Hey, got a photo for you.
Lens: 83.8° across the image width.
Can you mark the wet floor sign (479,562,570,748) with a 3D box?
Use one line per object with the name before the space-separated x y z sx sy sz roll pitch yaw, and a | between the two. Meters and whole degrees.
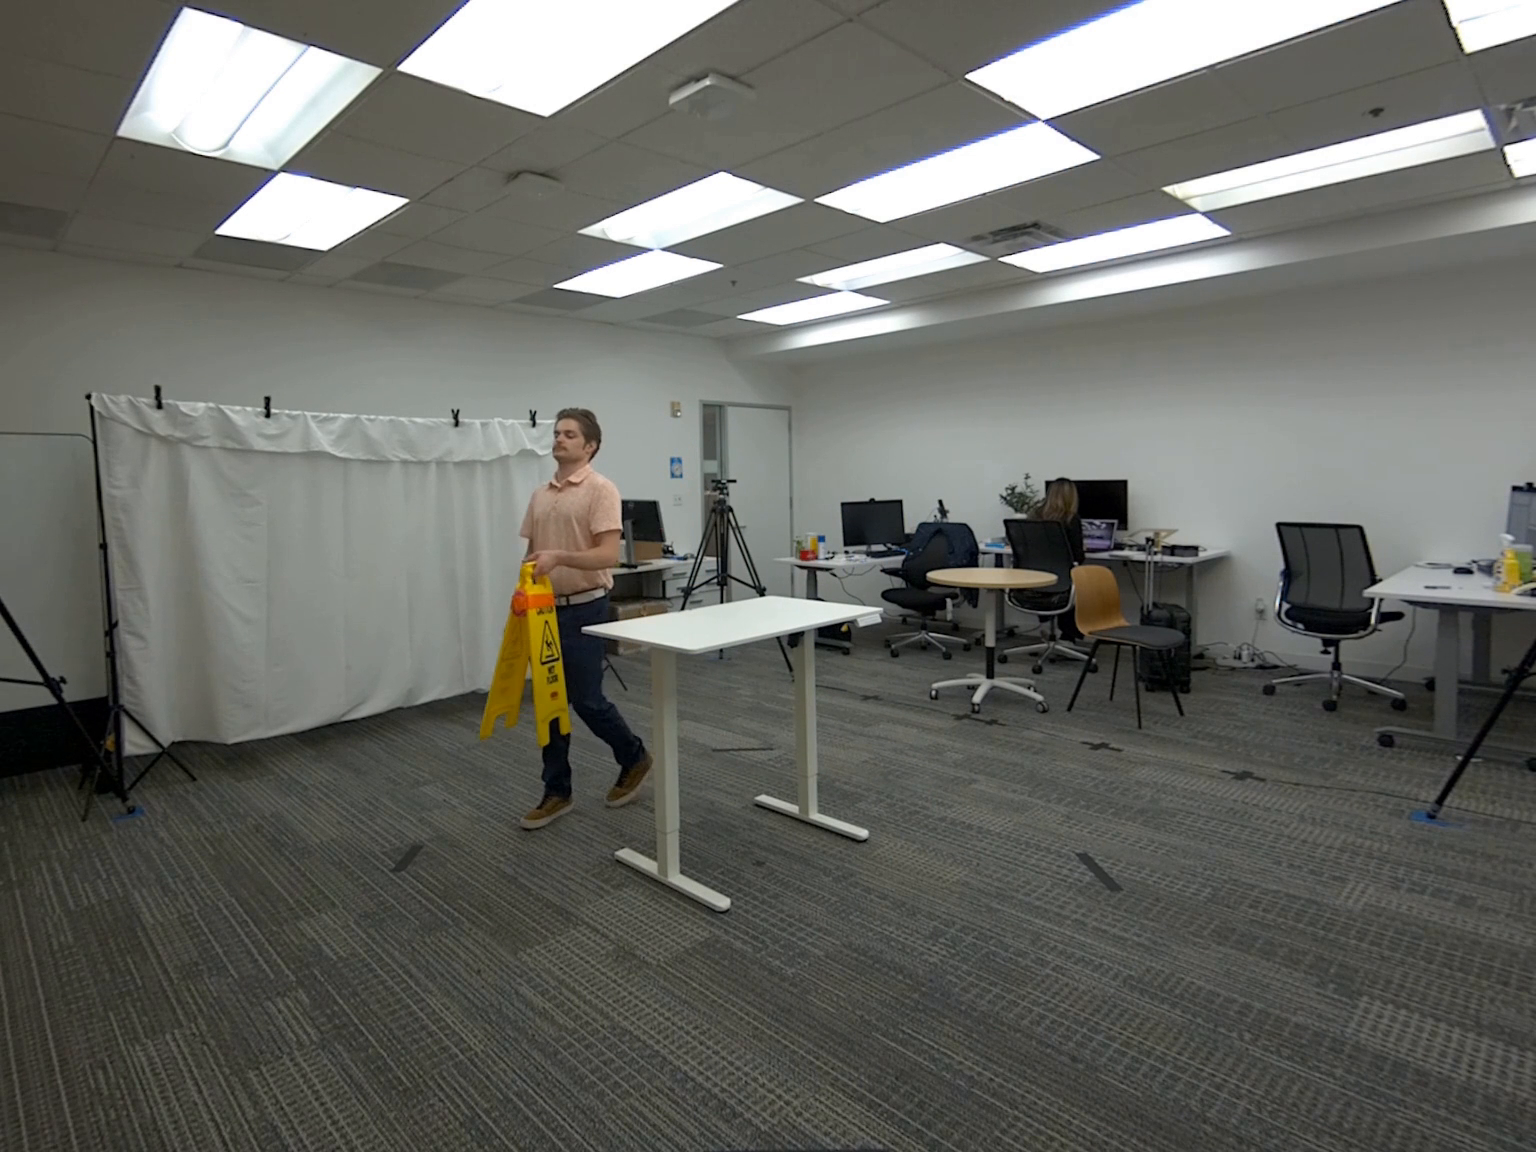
wet floor sign | -0.898 0.274 3.200 0.292 0.647 0.279 4 -1 7
